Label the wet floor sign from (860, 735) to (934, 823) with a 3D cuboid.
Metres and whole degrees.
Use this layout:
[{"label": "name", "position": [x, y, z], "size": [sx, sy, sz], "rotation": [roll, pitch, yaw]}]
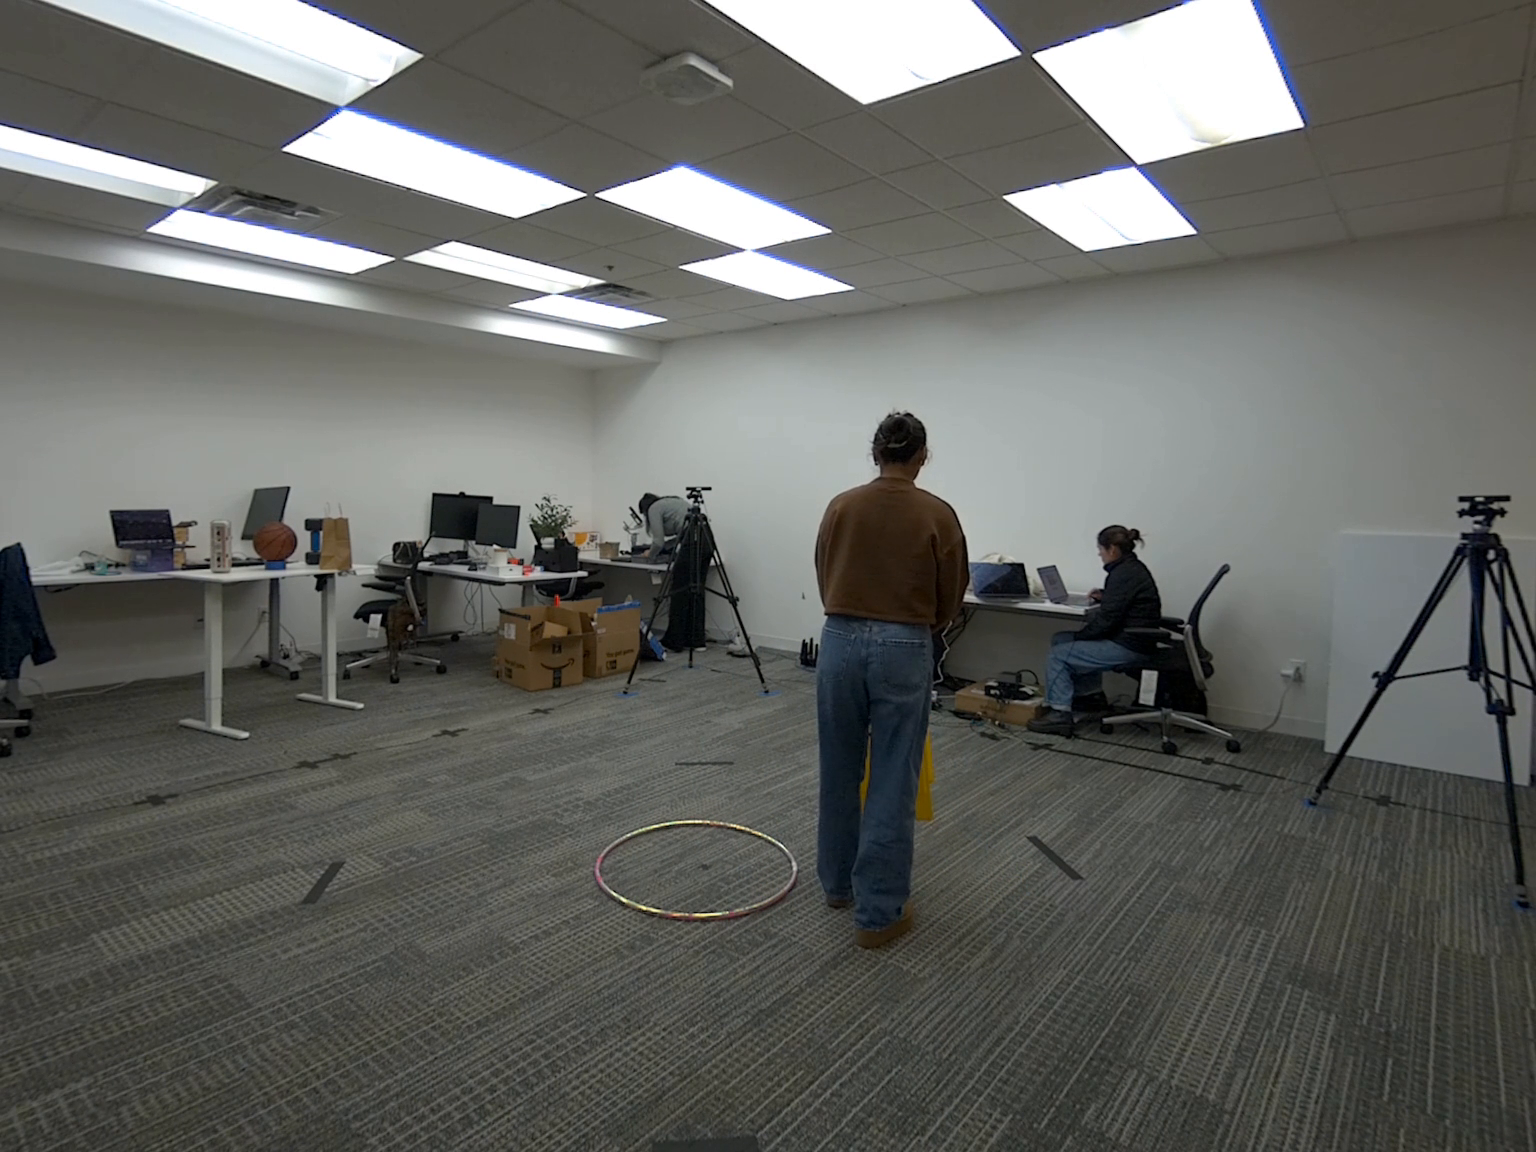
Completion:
[{"label": "wet floor sign", "position": [0.422, 0.486, 3.001], "size": [0.287, 0.639, 0.288], "rotation": [0, 11, 14]}]
